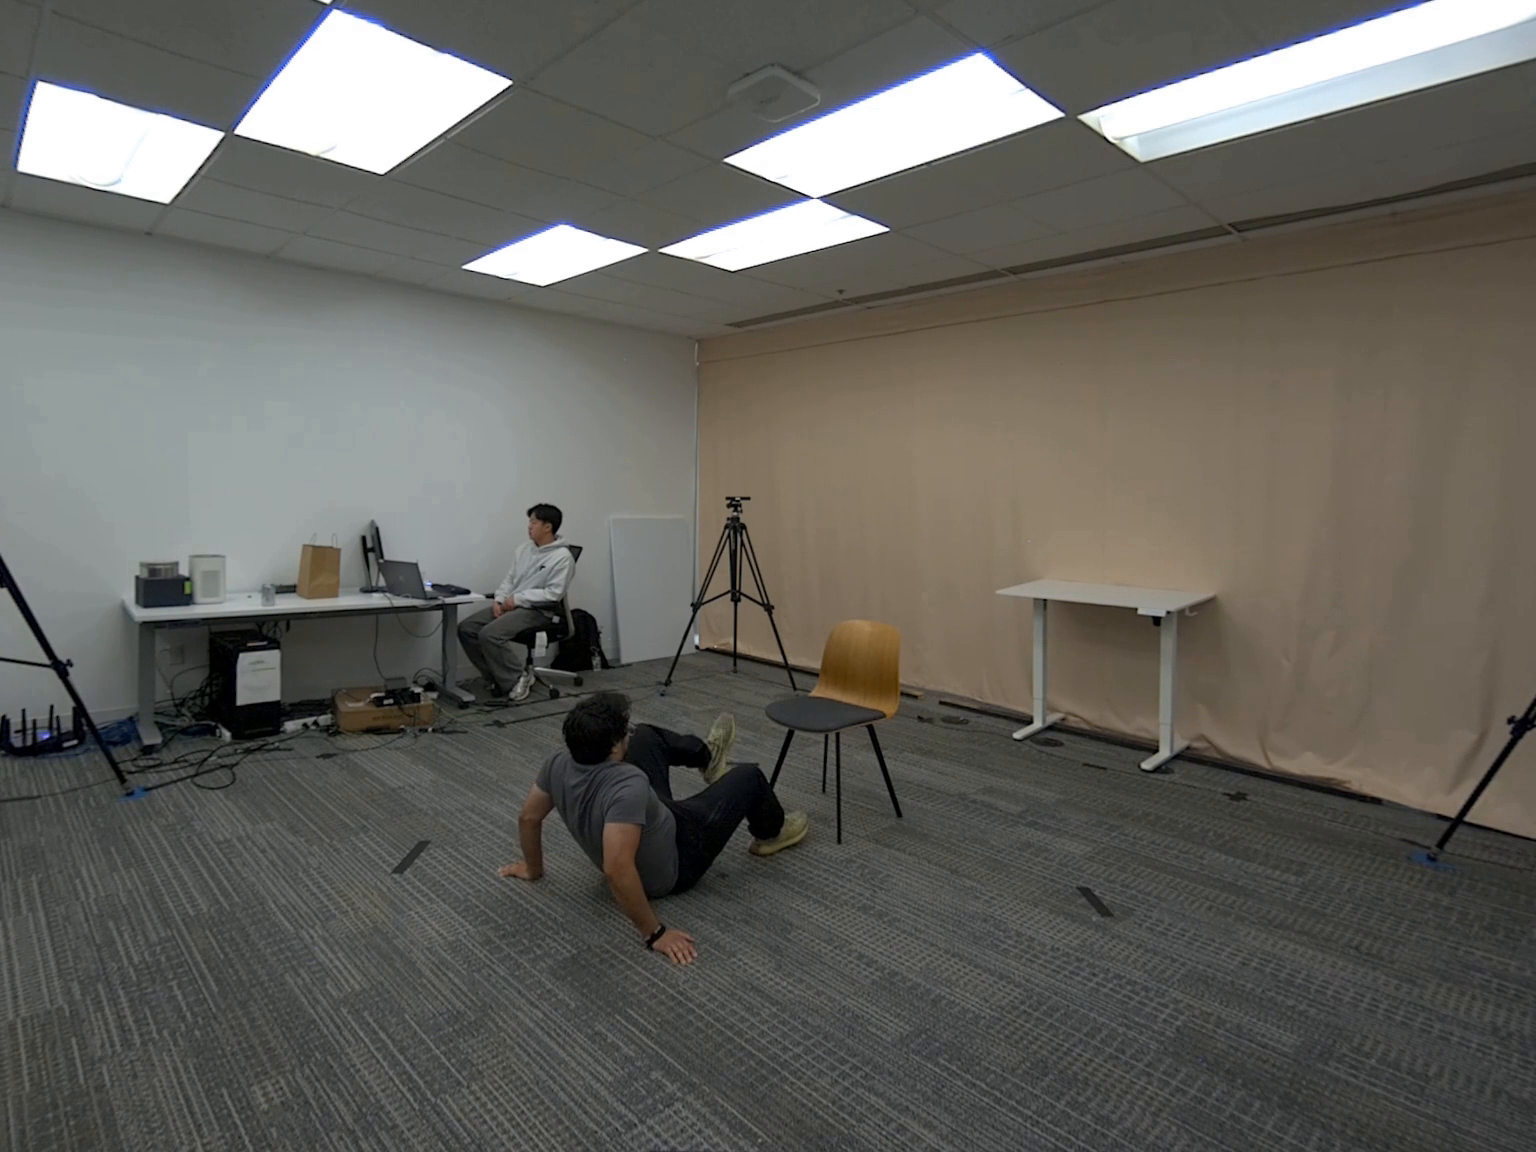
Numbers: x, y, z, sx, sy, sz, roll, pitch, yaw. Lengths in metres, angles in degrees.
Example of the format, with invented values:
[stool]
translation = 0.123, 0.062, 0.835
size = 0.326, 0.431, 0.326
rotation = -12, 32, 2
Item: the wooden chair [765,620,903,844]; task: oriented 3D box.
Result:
[wooden chair]
translation = 0.277, 0.638, 3.700
size = 0.490, 0.877, 0.510
rotation = 4, 0, 45
